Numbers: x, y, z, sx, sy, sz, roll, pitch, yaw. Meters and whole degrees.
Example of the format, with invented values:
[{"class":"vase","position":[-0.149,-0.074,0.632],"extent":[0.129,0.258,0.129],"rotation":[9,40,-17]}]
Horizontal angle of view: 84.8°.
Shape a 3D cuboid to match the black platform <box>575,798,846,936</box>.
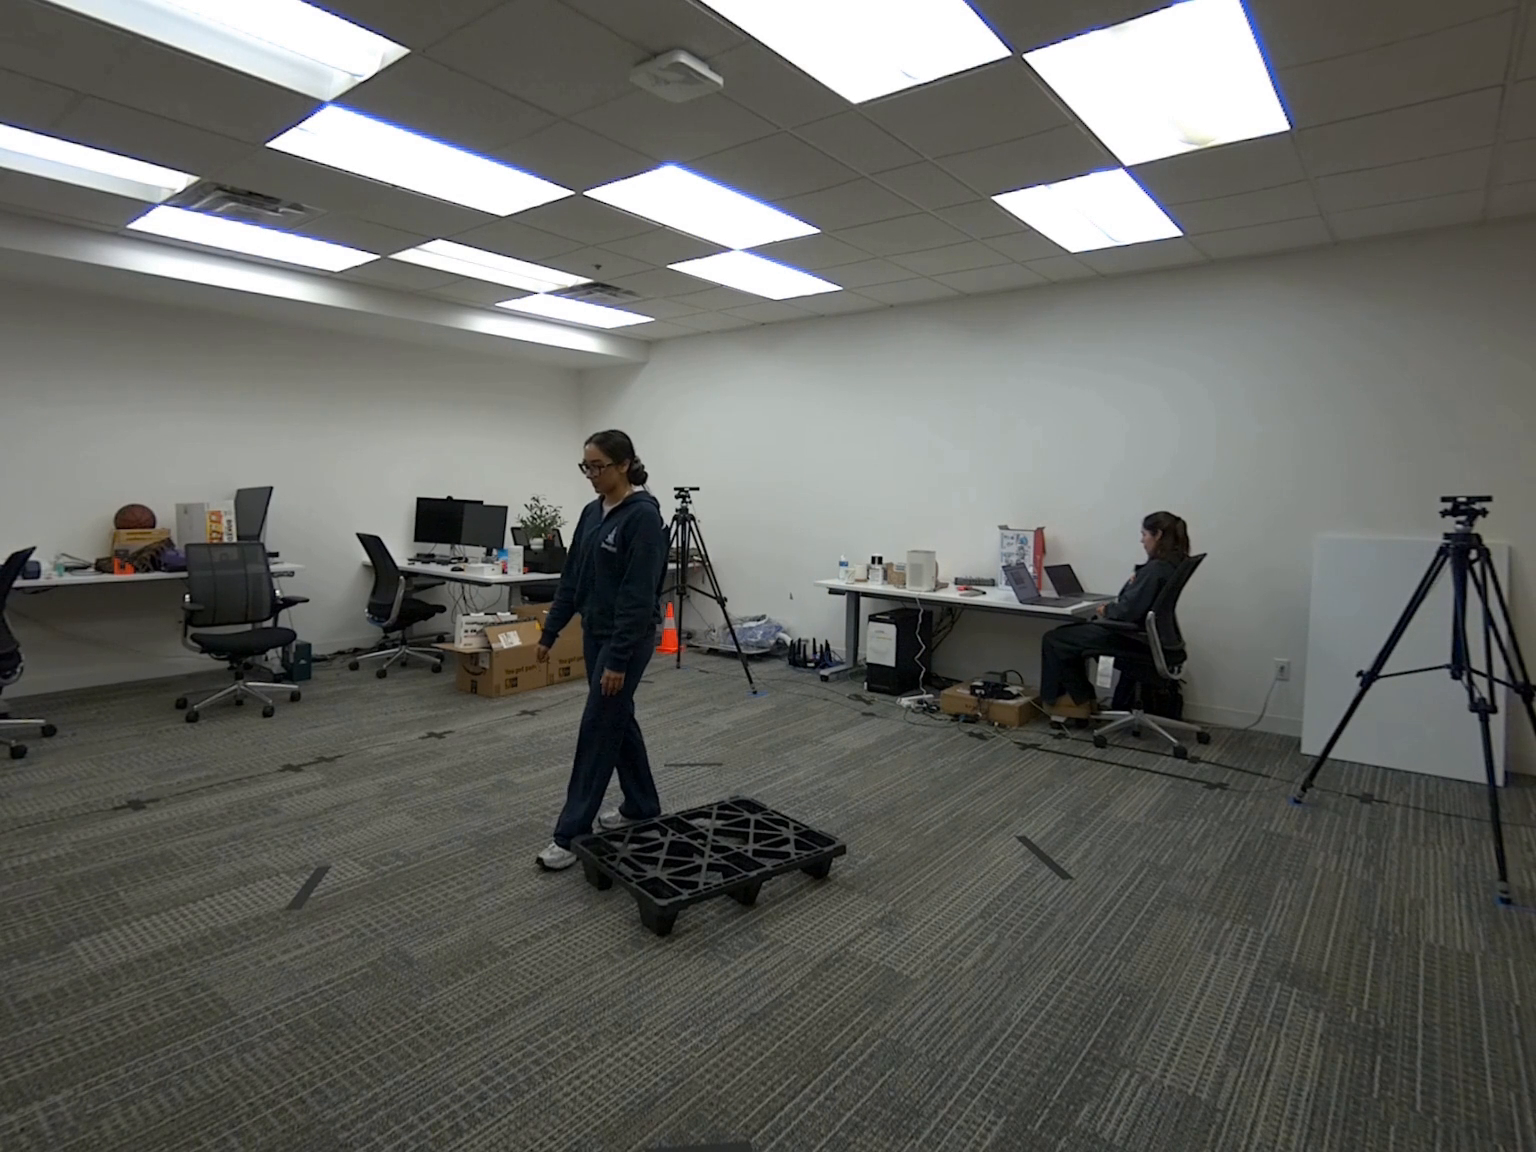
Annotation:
[{"class":"black platform","position":[-0.214,1.008,3.026],"extent":[0.782,0.143,0.626],"rotation":[-4,8,-39]}]
